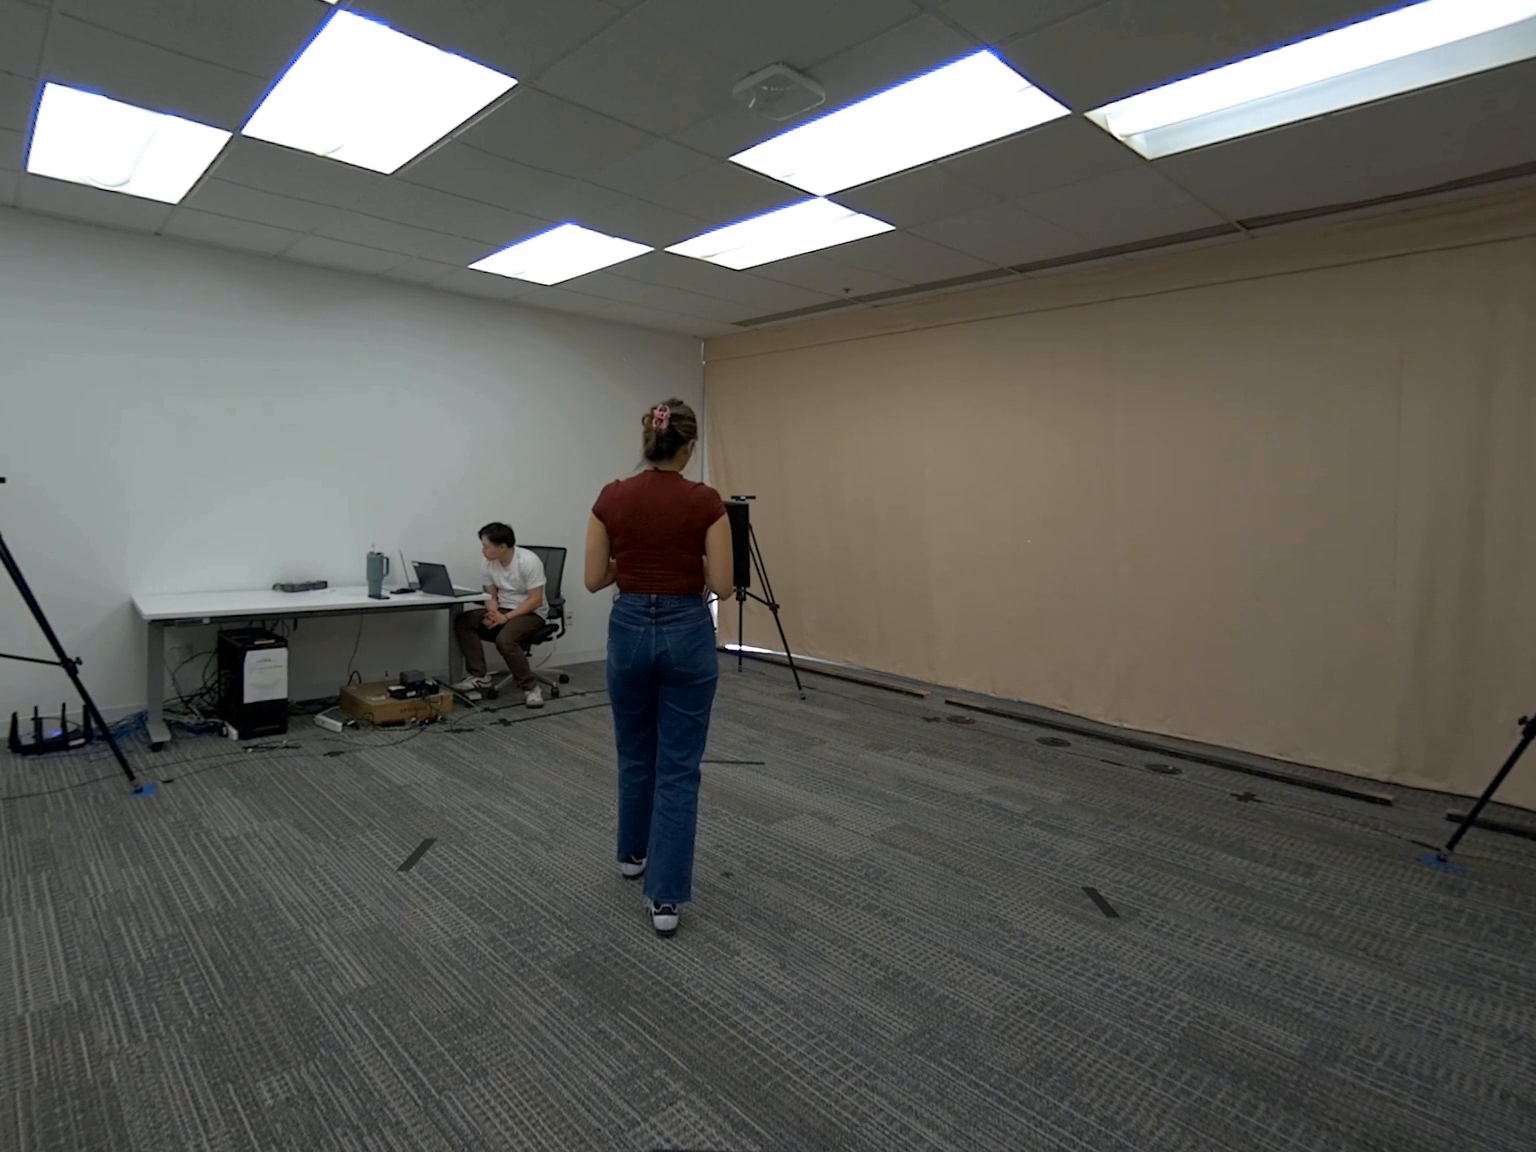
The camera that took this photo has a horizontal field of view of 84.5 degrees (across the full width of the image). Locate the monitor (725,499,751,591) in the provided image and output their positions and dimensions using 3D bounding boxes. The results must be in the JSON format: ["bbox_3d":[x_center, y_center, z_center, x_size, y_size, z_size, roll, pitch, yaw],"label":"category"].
[{"bbox_3d":[-0.338,-0.032,3.065,0.543,0.517,0.187,5,14,9],"label":"monitor"}]
